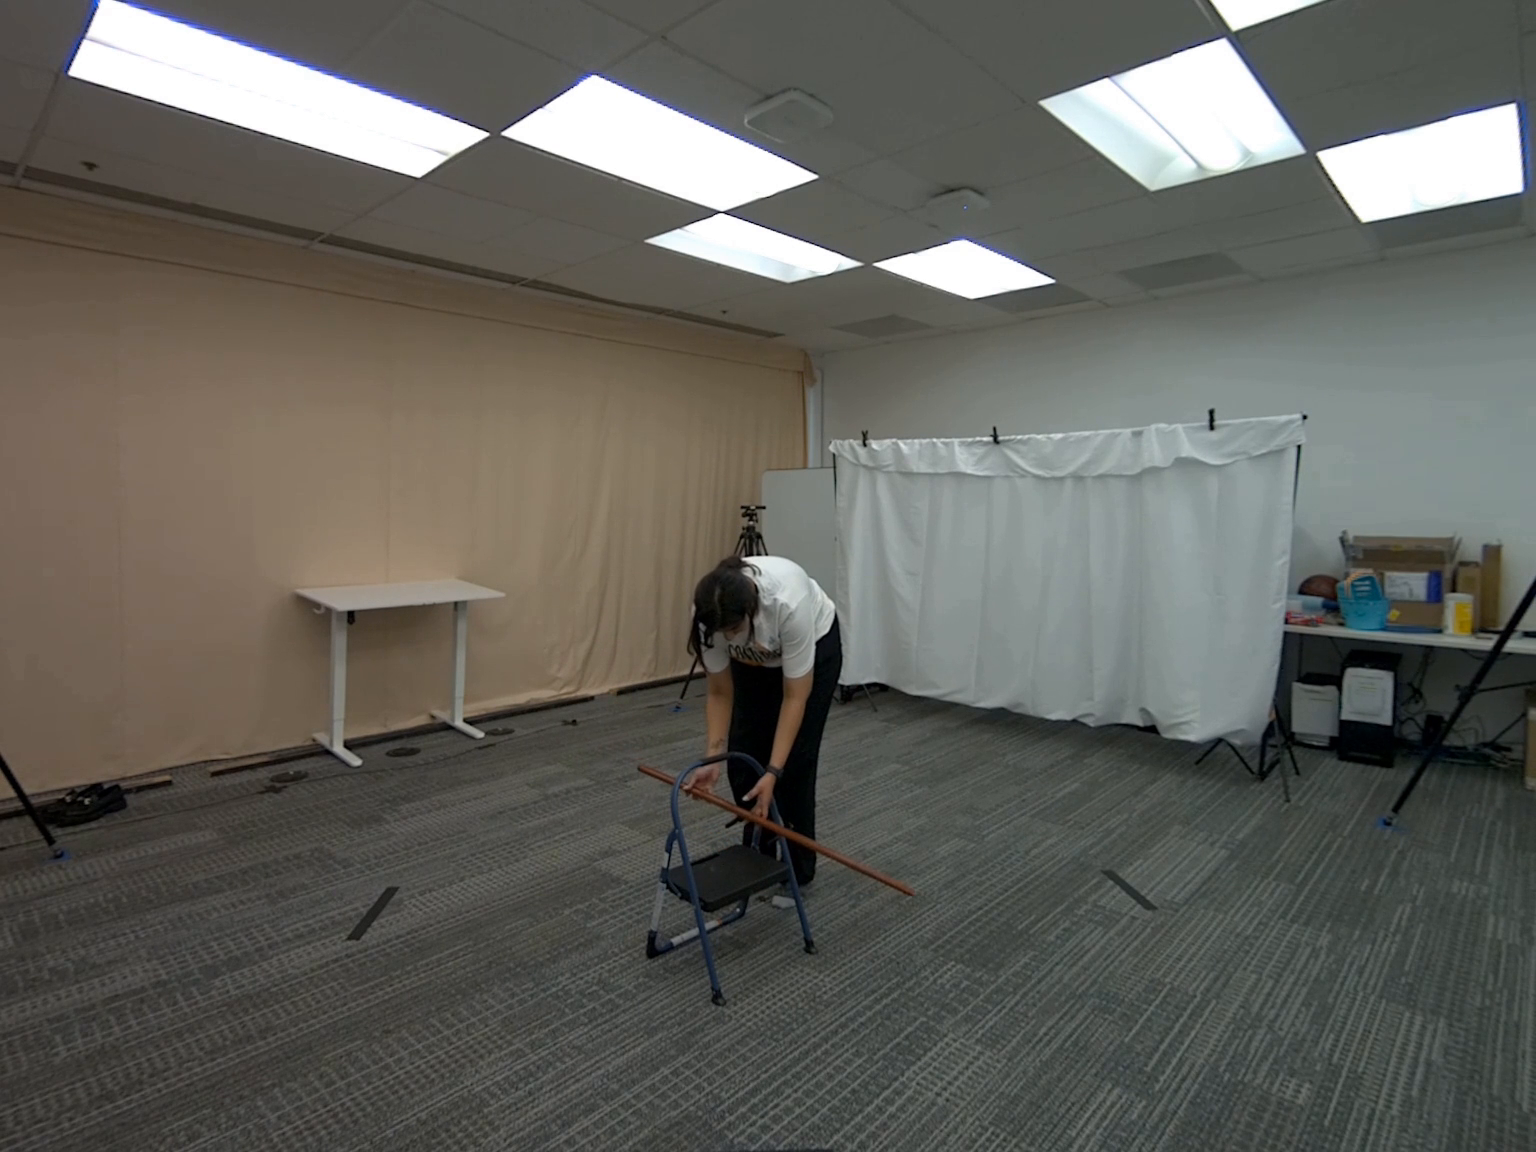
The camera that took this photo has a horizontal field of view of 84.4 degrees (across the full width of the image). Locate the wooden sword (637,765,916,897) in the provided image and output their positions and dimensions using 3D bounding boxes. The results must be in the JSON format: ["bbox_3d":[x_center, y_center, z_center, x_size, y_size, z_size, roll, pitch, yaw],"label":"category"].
[{"bbox_3d":[-0.012,0.731,2.556,1.061,0.051,0.023,14,19,39],"label":"wooden sword"}]
